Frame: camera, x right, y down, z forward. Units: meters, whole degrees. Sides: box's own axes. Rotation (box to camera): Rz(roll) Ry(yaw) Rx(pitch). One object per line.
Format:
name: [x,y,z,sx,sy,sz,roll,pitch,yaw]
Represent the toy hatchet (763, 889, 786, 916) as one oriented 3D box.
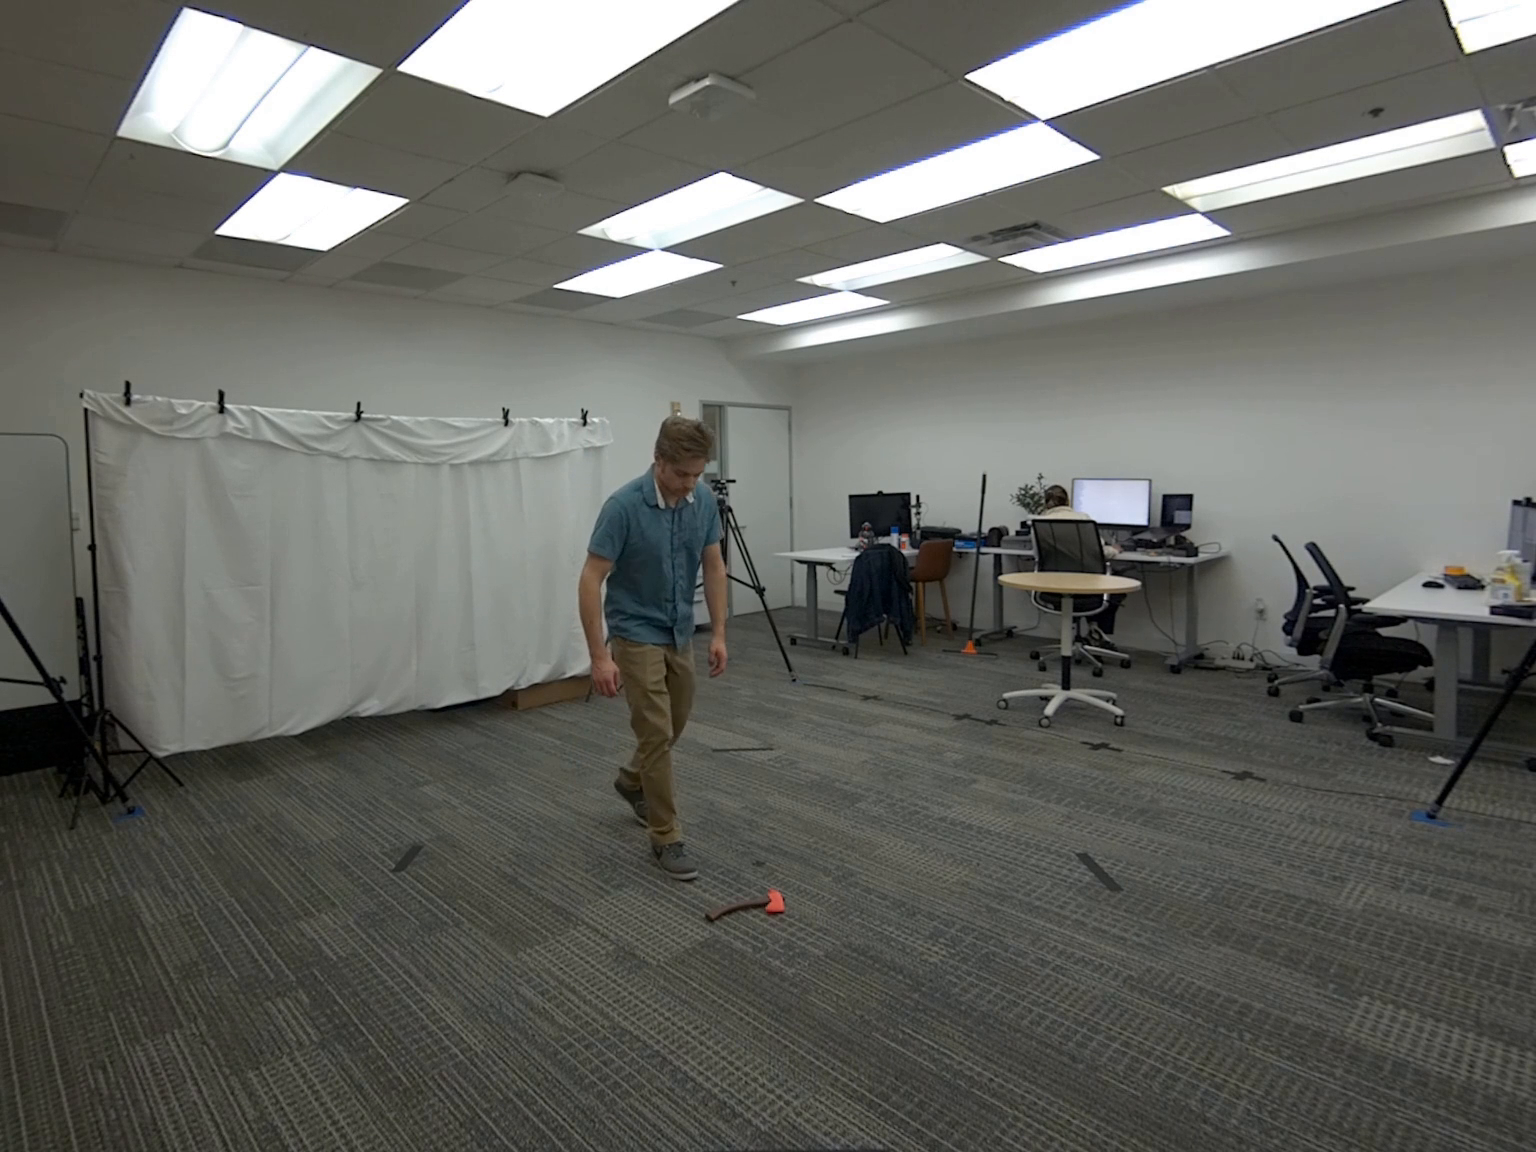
toy hatchet: [-0.053,1.078,2.751,0.264,0.029,0.135,-7,12,-34]
